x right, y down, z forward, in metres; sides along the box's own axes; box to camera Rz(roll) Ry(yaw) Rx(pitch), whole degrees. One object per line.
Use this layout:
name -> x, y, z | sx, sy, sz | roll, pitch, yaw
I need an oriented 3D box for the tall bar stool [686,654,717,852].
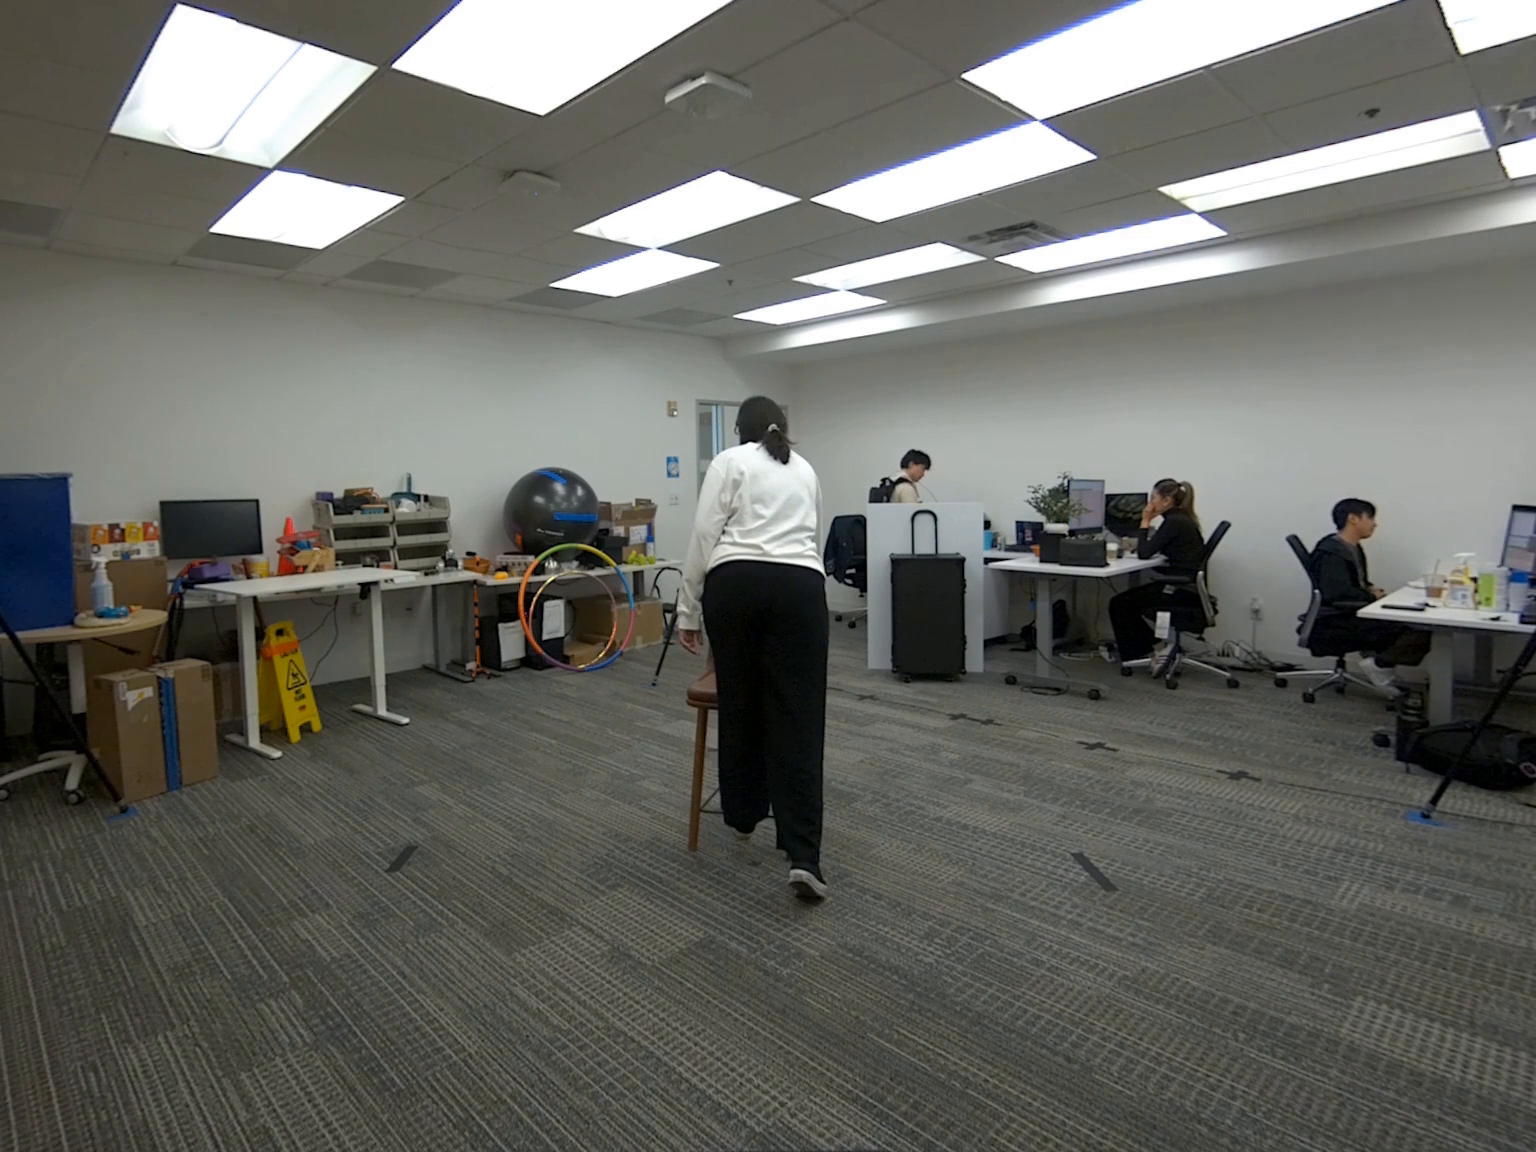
tall bar stool -> -0.057, 0.580, 3.374 | 0.463, 0.888, 0.462 | 0, 2, 14
